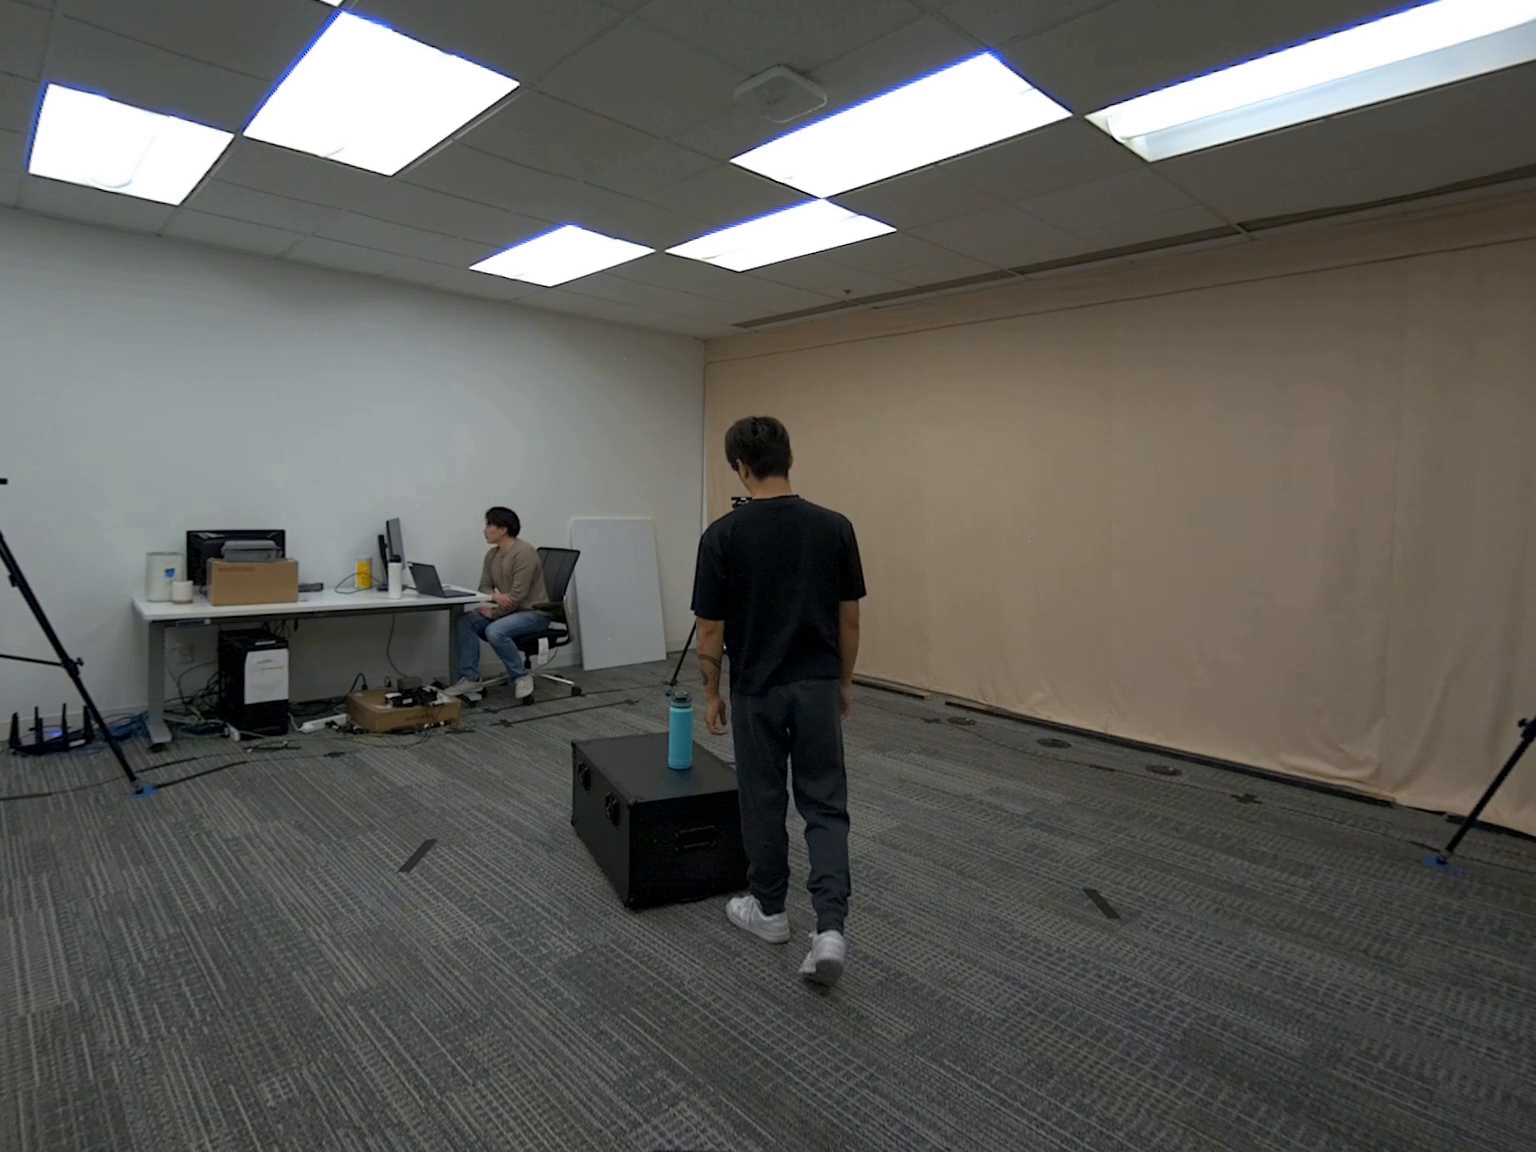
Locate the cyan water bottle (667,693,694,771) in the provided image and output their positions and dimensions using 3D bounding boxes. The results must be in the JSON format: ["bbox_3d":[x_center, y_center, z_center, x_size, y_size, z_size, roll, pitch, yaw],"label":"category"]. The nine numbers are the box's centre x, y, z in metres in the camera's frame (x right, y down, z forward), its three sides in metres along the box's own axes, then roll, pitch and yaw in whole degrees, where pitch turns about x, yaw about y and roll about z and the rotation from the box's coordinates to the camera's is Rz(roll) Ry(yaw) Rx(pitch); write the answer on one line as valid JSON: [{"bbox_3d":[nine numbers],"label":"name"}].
[{"bbox_3d":[-0.340,0.581,3.191,0.092,0.283,0.092,2,1,-1],"label":"cyan water bottle"}]
